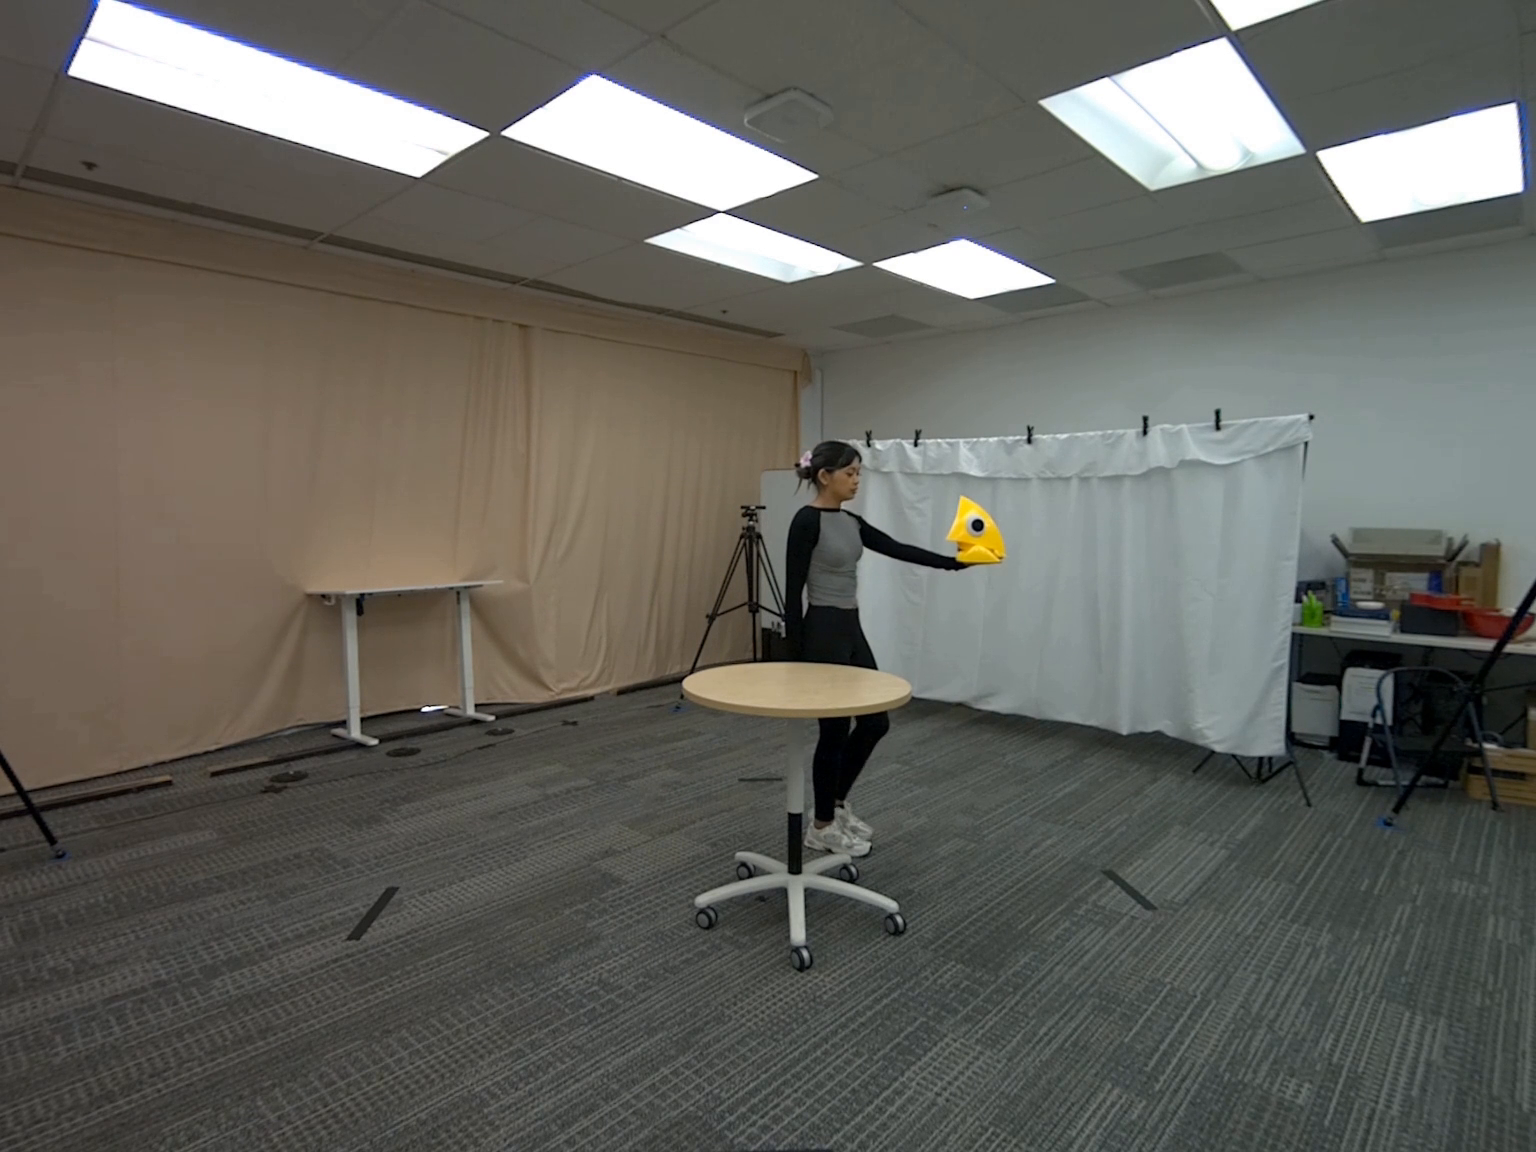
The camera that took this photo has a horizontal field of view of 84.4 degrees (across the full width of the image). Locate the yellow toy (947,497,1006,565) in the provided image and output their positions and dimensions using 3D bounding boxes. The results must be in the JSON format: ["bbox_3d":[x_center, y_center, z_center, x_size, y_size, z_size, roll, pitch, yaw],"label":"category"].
[{"bbox_3d":[0.777,-0.175,3.061,0.198,0.229,0.200,3,8,27],"label":"yellow toy"}]
